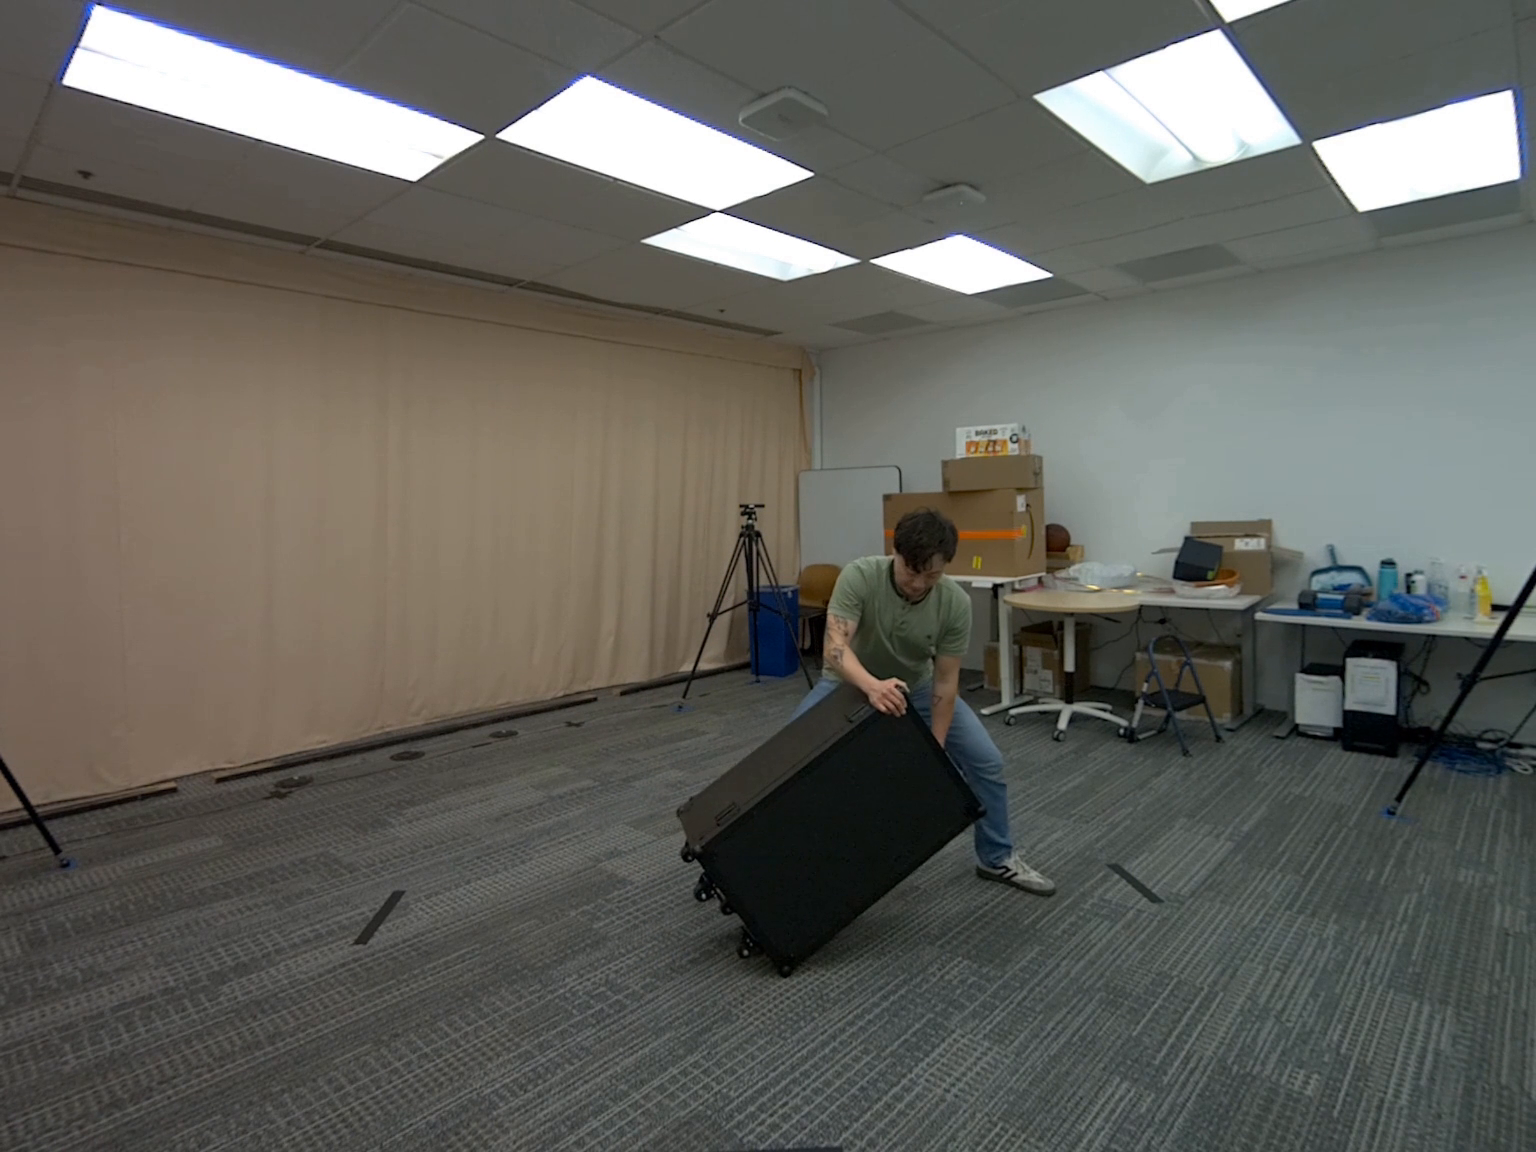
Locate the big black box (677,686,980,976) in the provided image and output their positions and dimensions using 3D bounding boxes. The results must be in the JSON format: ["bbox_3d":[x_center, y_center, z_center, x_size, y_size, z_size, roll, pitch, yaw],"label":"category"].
[{"bbox_3d":[0.153,0.762,2.665,0.858,0.517,0.402,-36,9,-8],"label":"big black box"}]
